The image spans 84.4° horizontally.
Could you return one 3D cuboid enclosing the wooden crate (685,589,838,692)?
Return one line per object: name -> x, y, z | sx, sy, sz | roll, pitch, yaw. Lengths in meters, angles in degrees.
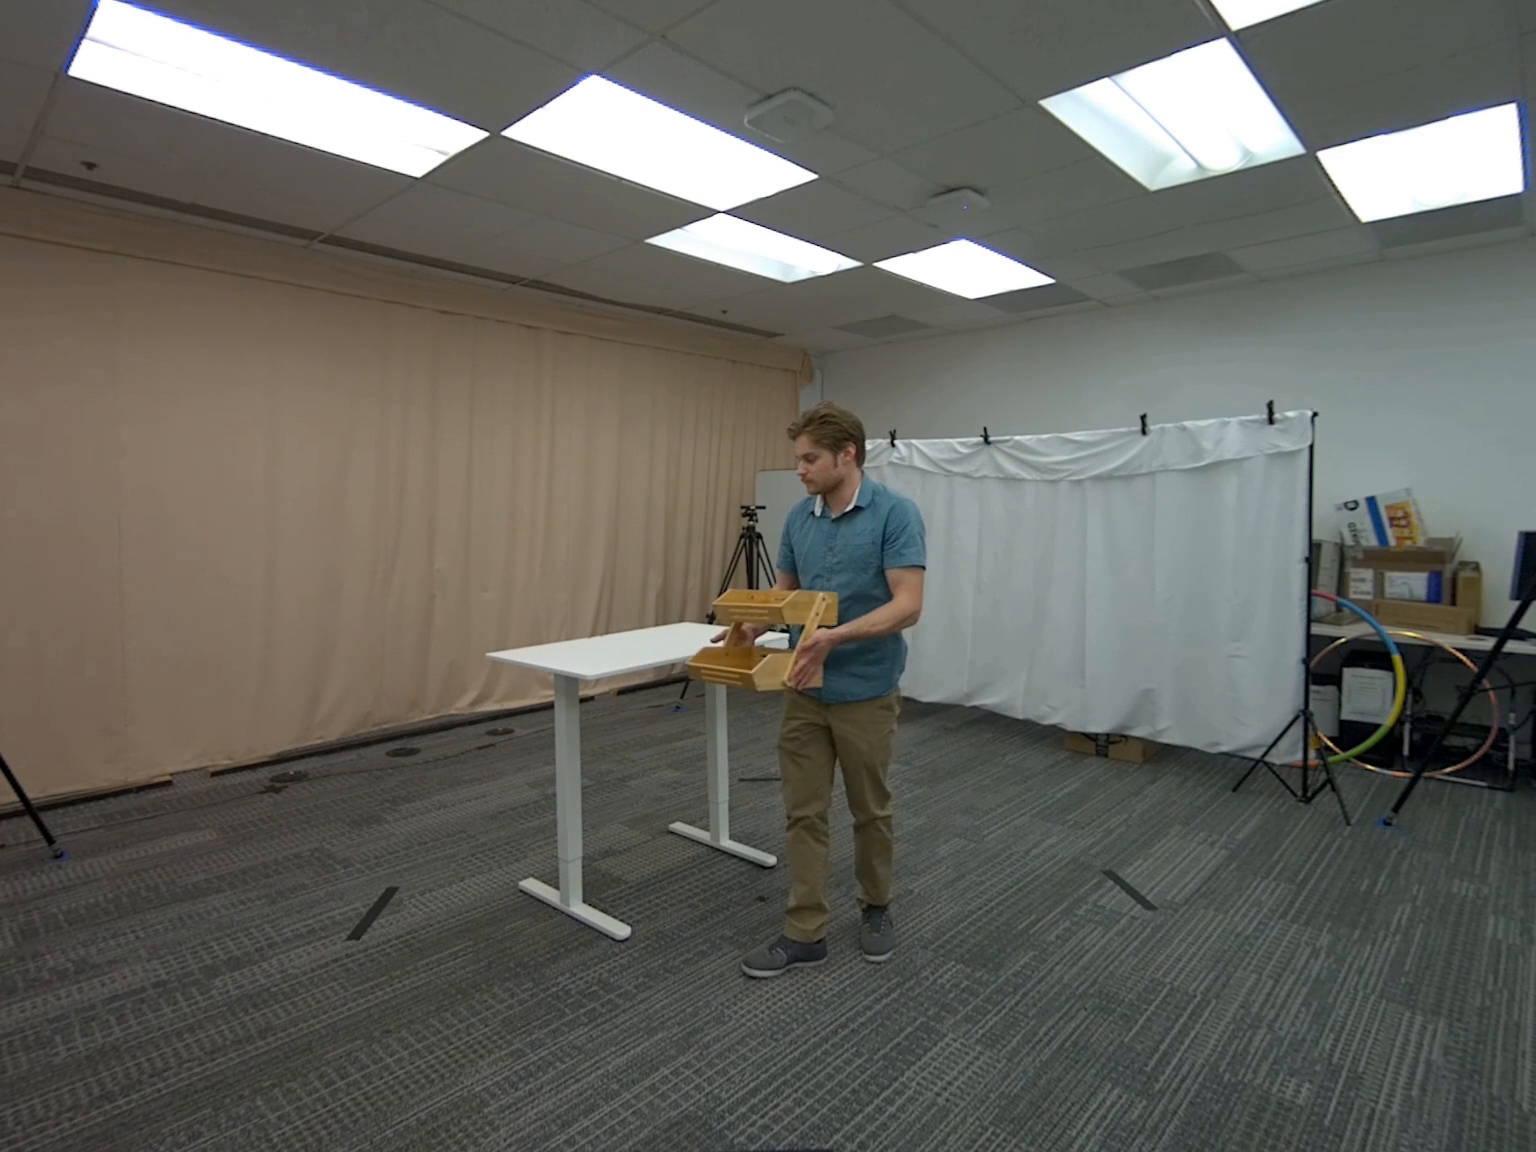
wooden crate -> -0.023, 0.167, 2.360 | 0.292, 0.274, 0.334 | 4, -3, -38
